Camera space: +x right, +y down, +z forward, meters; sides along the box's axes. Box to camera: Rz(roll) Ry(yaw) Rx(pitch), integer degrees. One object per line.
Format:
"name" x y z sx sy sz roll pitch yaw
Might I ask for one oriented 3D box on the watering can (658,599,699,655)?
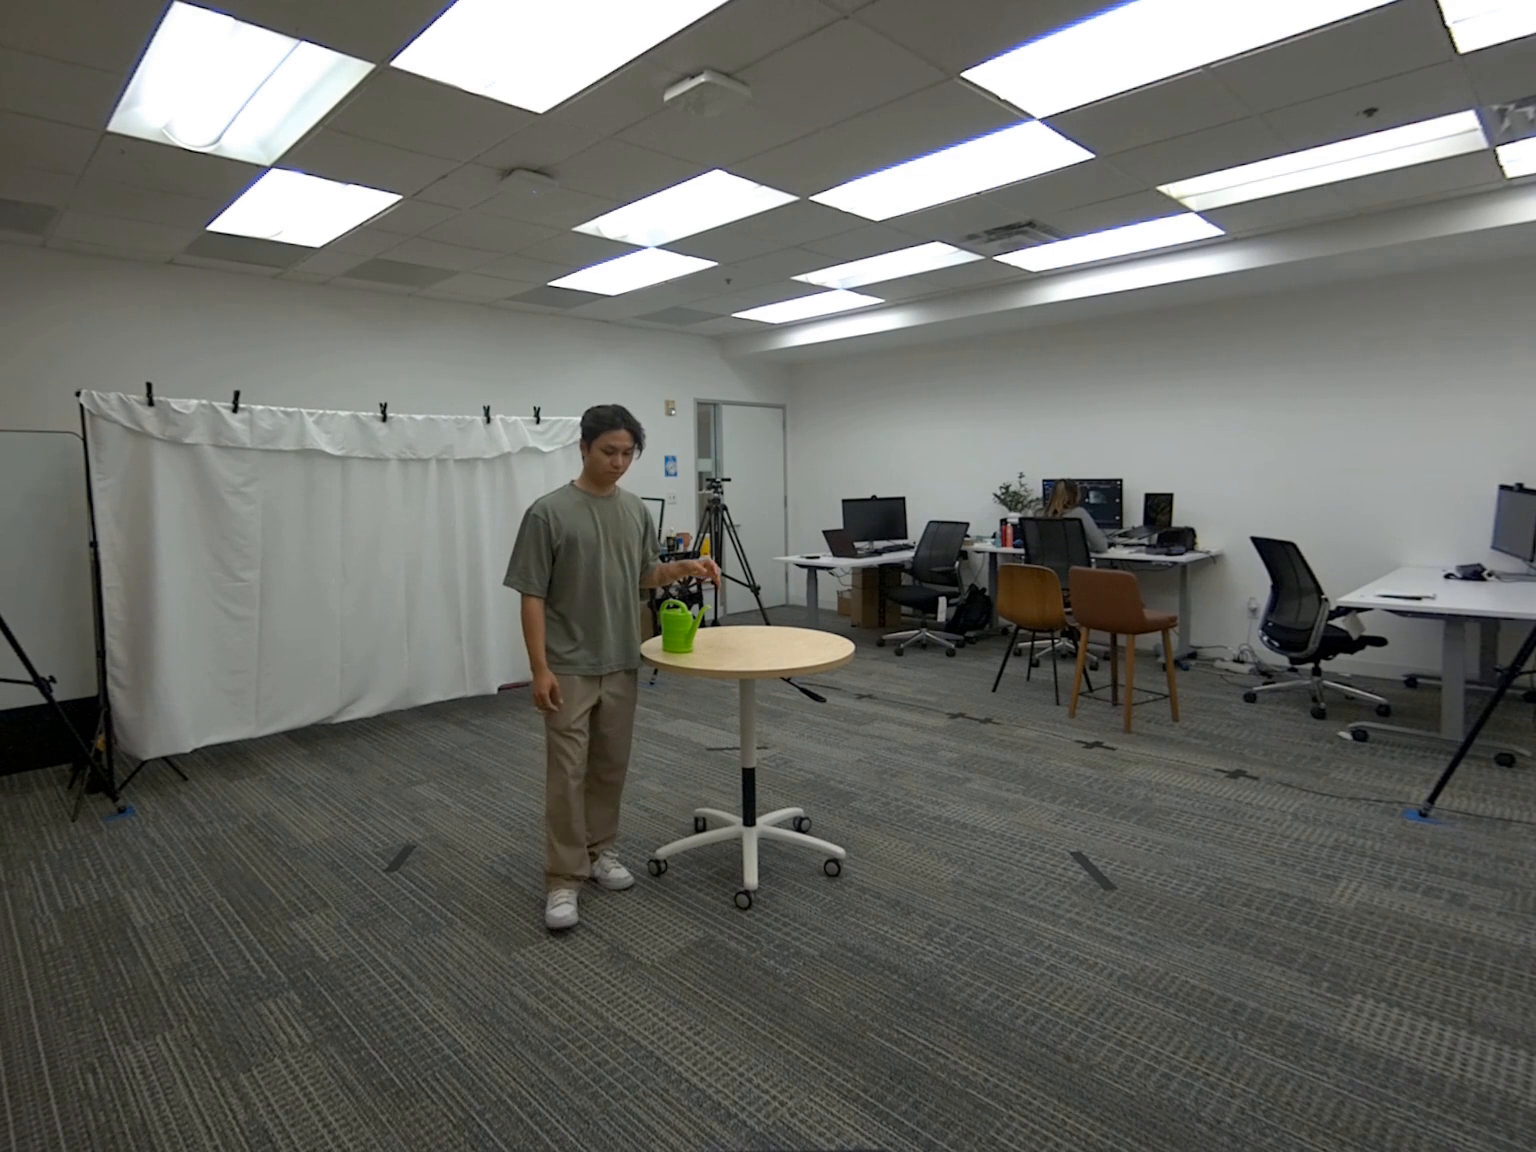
"watering can" -0.295 0.176 2.955 0.096 0.176 0.286 -3 5 -29
